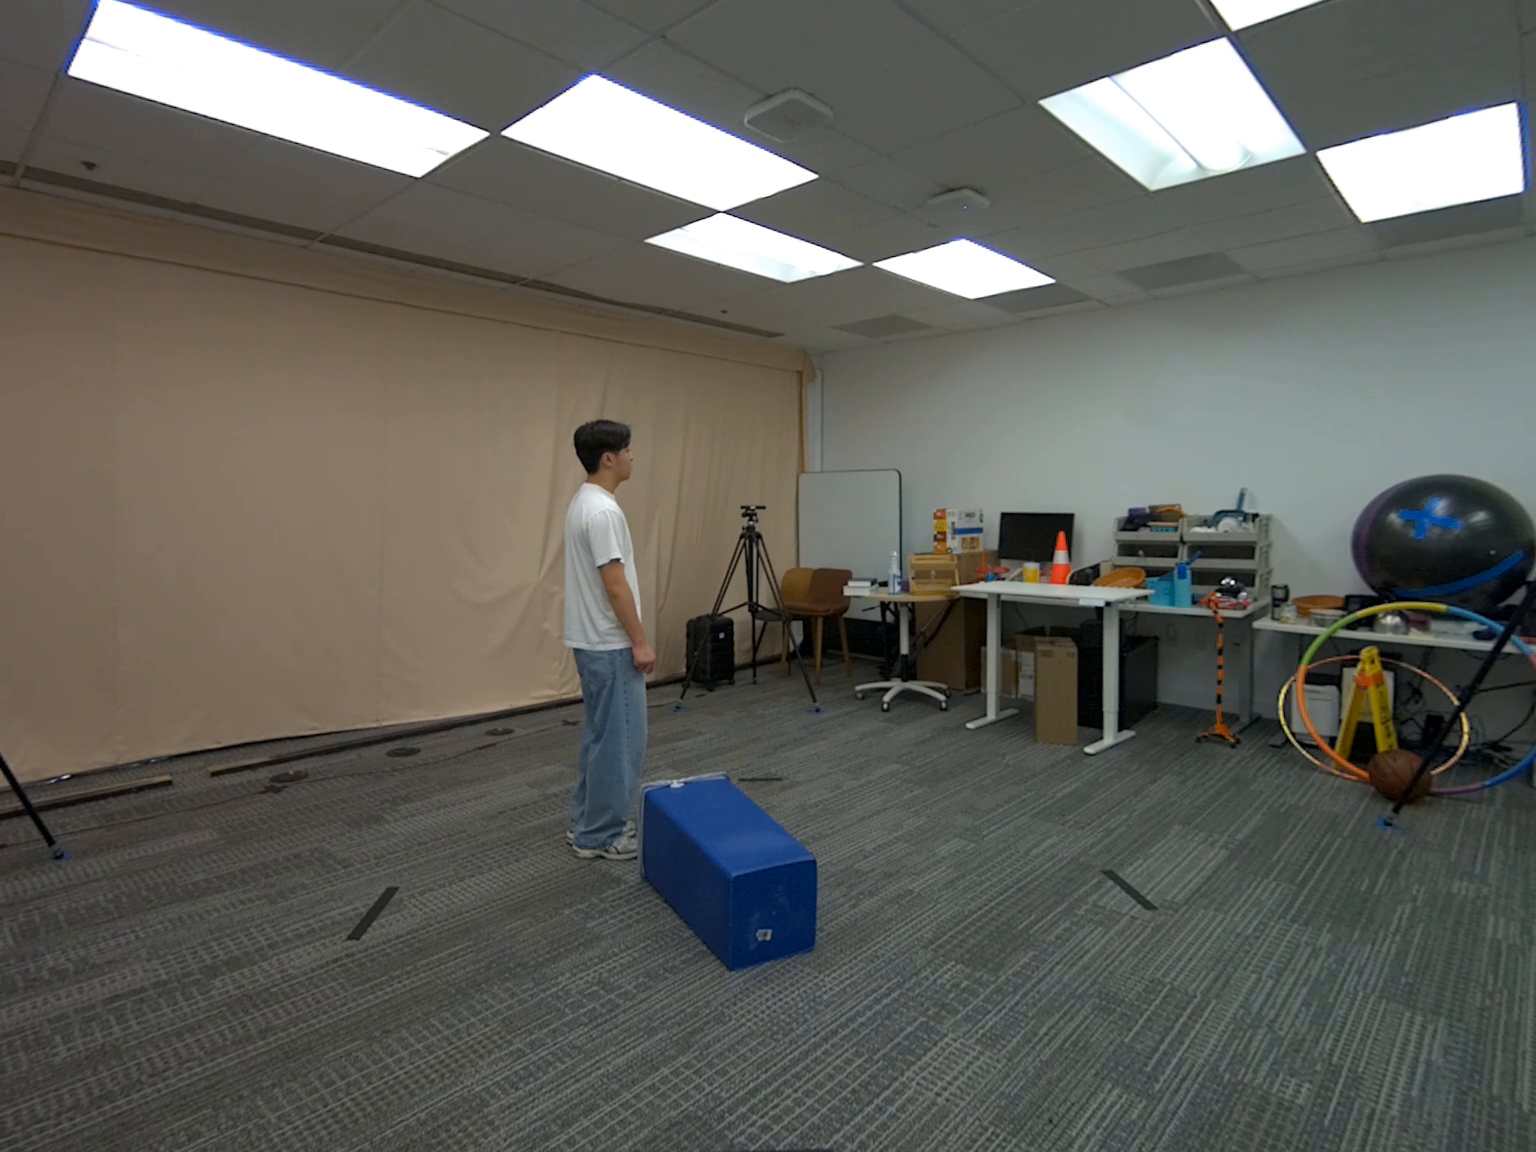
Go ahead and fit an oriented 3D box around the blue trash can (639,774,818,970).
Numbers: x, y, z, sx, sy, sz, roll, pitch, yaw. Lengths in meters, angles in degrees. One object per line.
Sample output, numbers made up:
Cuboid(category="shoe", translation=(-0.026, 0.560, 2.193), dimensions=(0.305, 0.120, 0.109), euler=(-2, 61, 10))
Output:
Cuboid(category="blue trash can", translation=(-0.141, 0.989, 2.877), dimensions=(0.365, 0.377, 0.734), euler=(-2, 7, -28))
